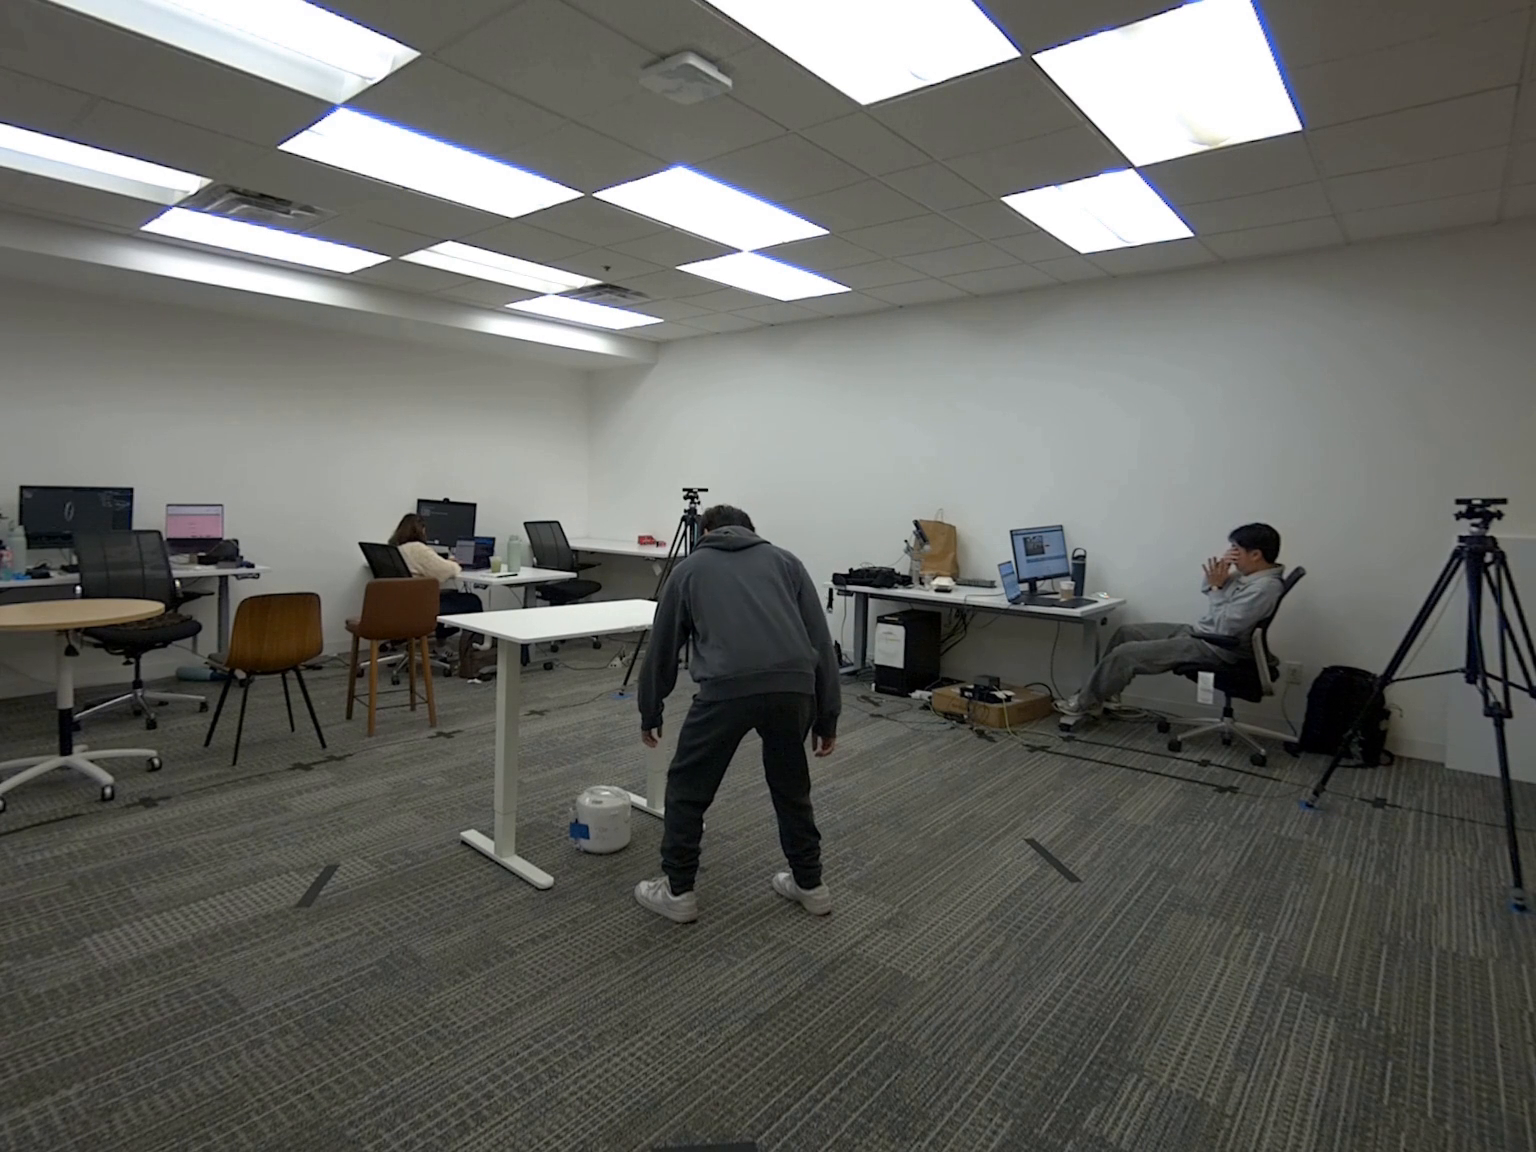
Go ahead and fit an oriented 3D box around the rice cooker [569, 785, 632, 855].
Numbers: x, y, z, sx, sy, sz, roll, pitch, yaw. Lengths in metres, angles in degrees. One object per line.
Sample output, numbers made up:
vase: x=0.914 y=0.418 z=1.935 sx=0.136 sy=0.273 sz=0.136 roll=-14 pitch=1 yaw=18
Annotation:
rice cooker: x=-0.648 y=0.926 z=3.300 sx=0.226 sy=0.232 sz=0.213 roll=3 pitch=5 yaw=21
